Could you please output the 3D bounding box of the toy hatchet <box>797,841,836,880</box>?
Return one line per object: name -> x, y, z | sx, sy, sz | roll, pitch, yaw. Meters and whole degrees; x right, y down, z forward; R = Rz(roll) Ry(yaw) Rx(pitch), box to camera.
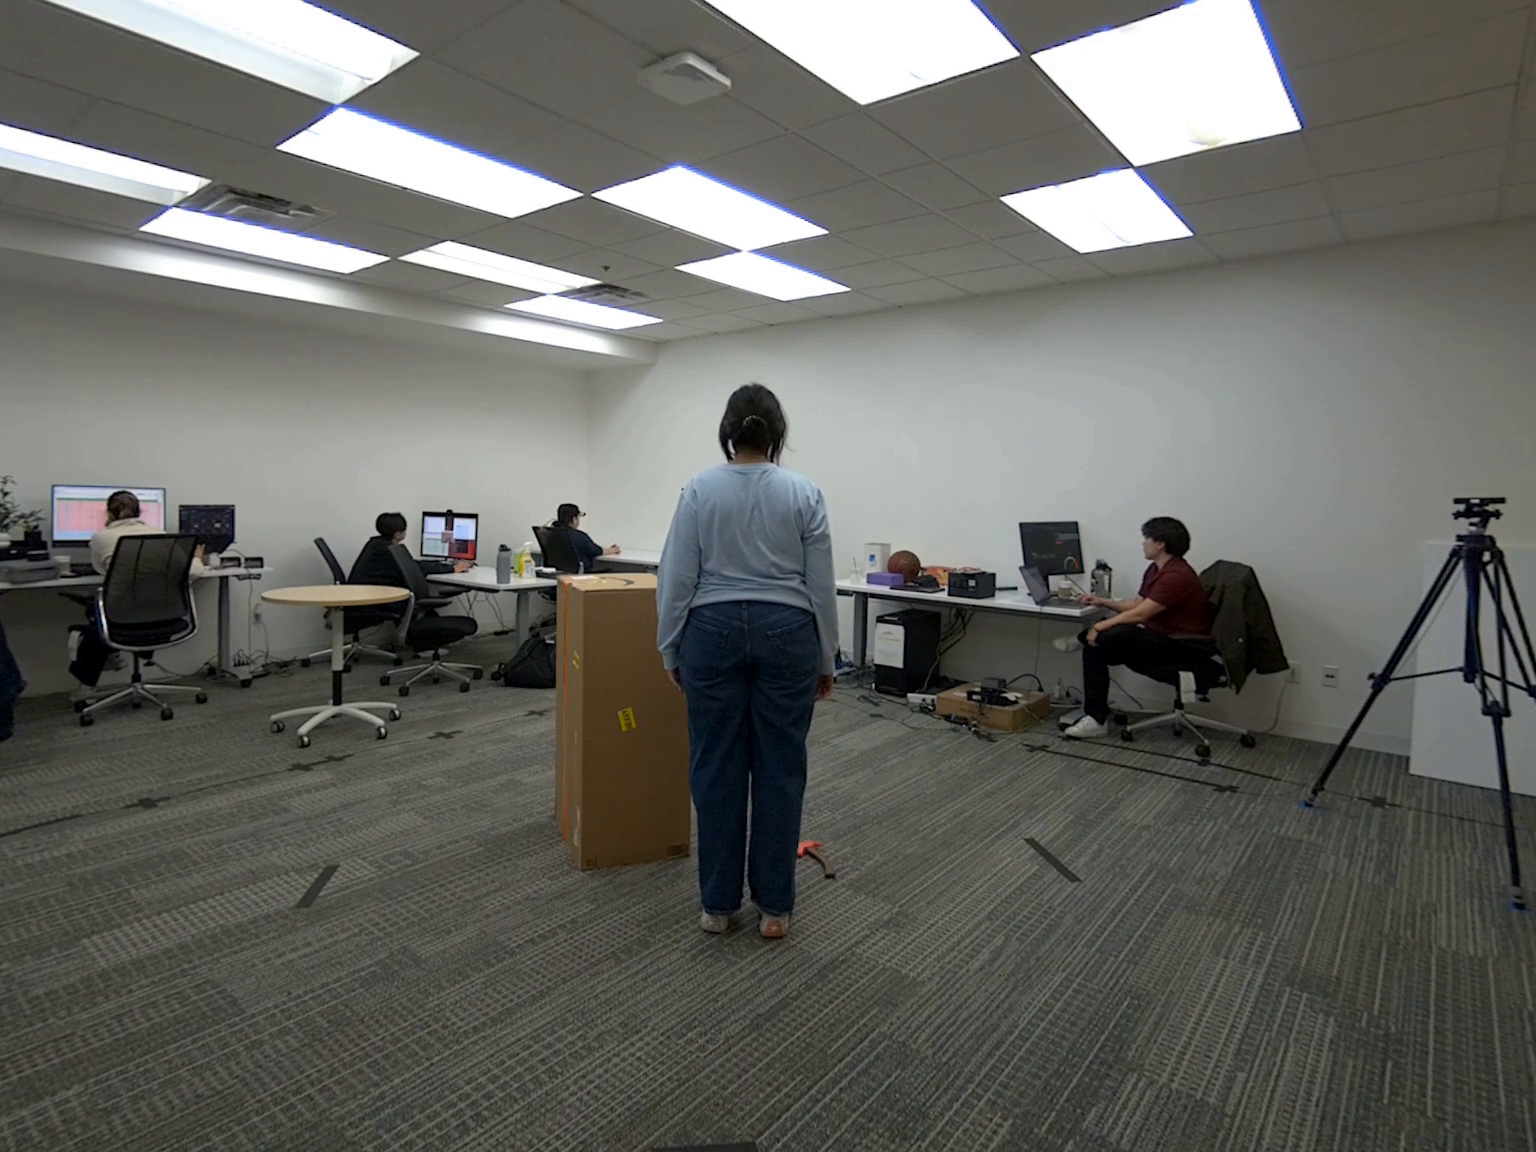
toy hatchet -> 0.155, 1.062, 3.180 | 0.130, 0.029, 0.274 | 1, 7, -8
